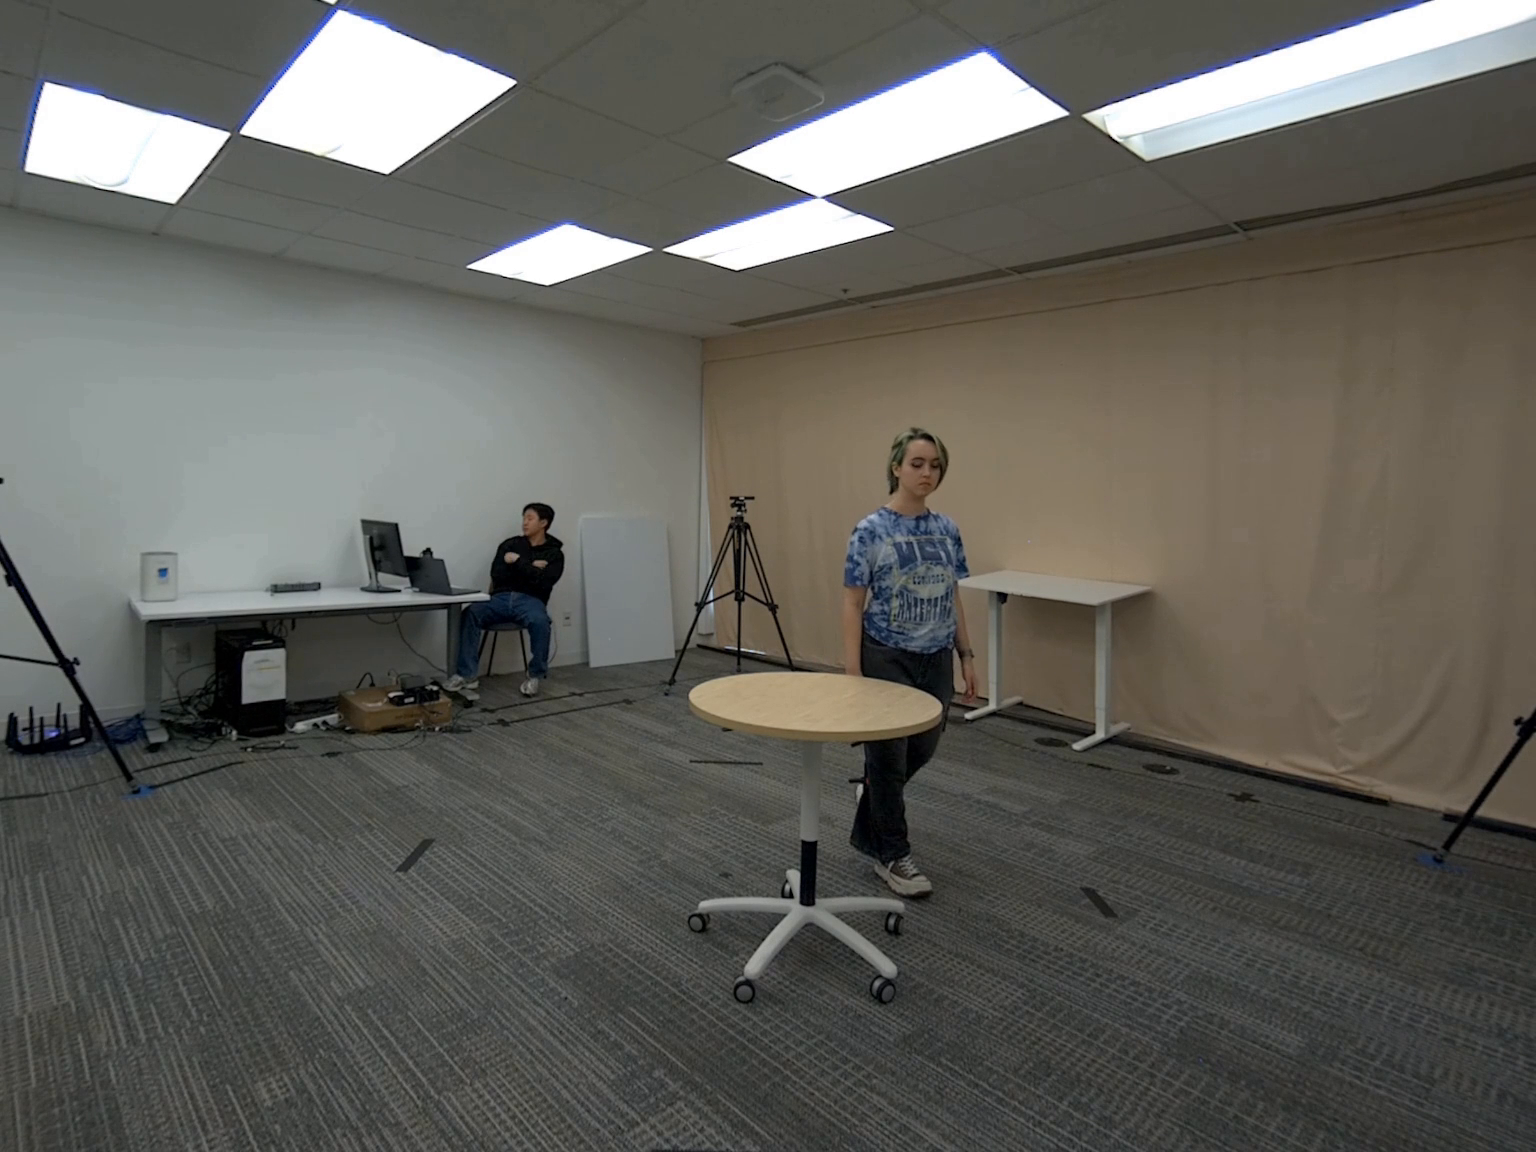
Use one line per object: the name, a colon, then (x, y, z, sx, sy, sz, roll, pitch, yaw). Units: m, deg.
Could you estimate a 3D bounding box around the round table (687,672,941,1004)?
round table: (0.118, 0.768, 2.597, 0.763, 0.792, 0.767, 1, 4, -1)
